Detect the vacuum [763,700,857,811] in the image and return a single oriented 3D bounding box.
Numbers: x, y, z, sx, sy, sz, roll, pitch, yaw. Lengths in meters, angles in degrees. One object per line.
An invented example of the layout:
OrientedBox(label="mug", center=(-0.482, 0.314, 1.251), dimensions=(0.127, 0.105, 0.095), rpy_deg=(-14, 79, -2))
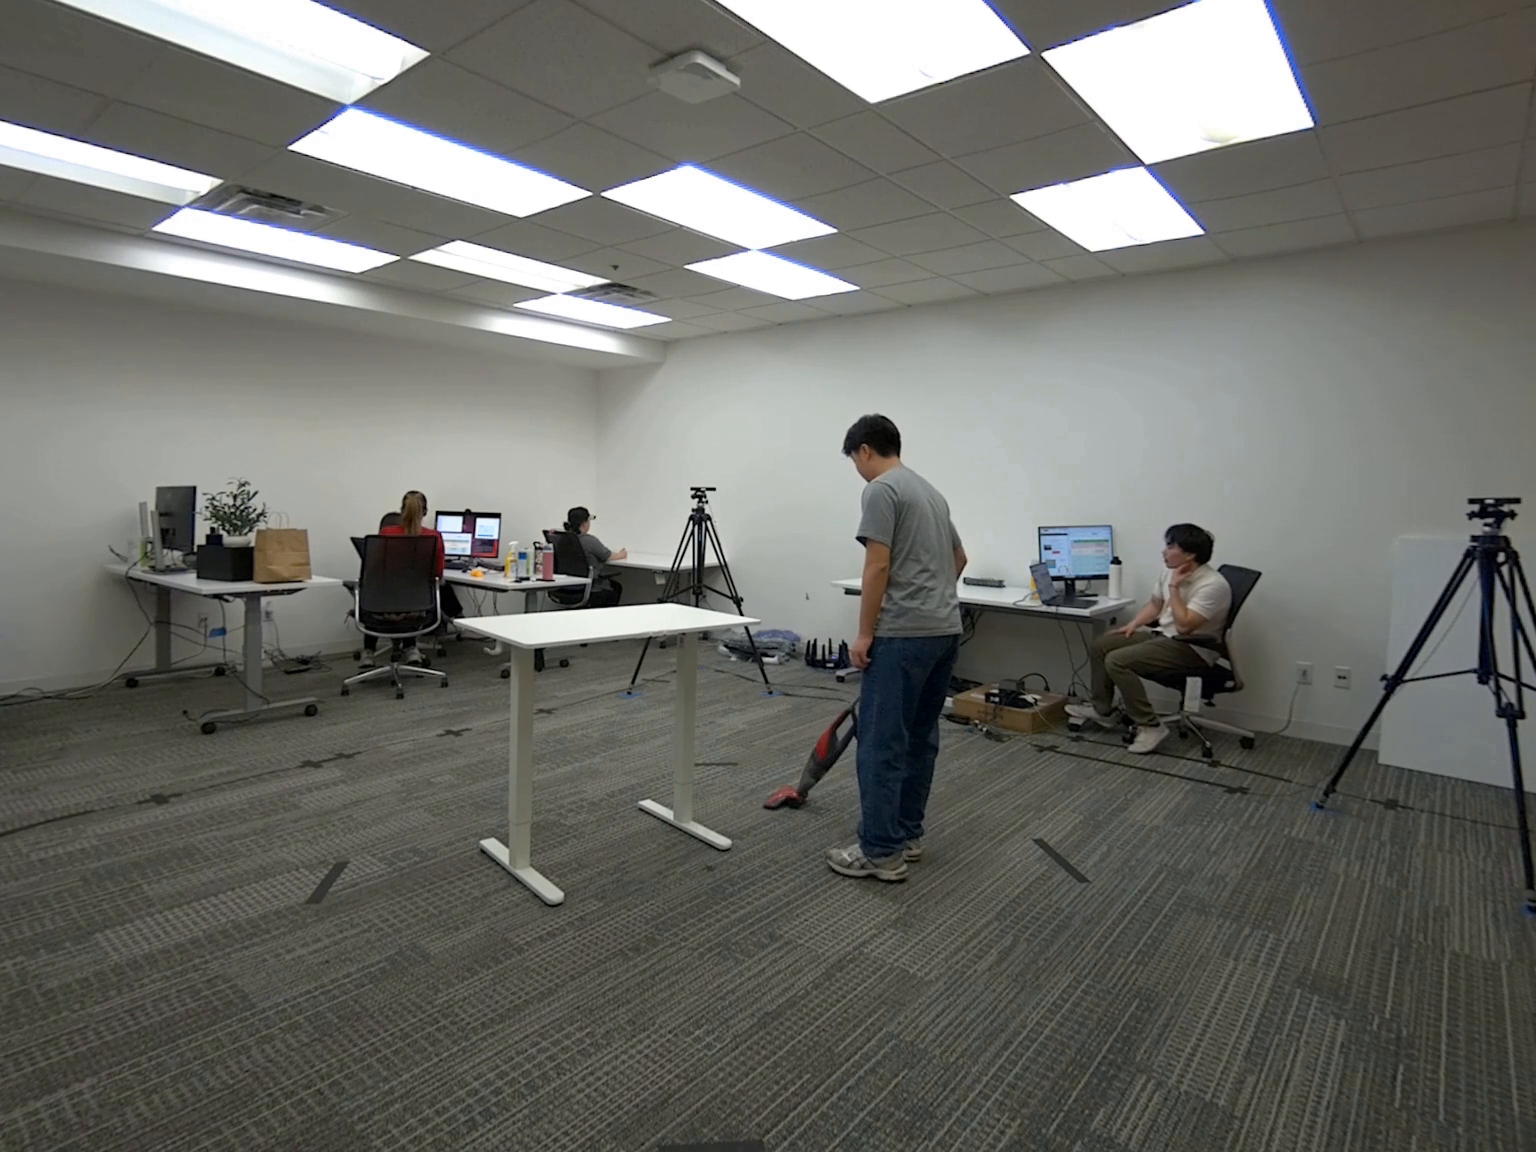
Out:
OrientedBox(label="vacuum", center=(0.352, 0.601, 3.642), dimensions=(0.147, 1.046, 0.248), rpy_deg=(40, 18, 14))
